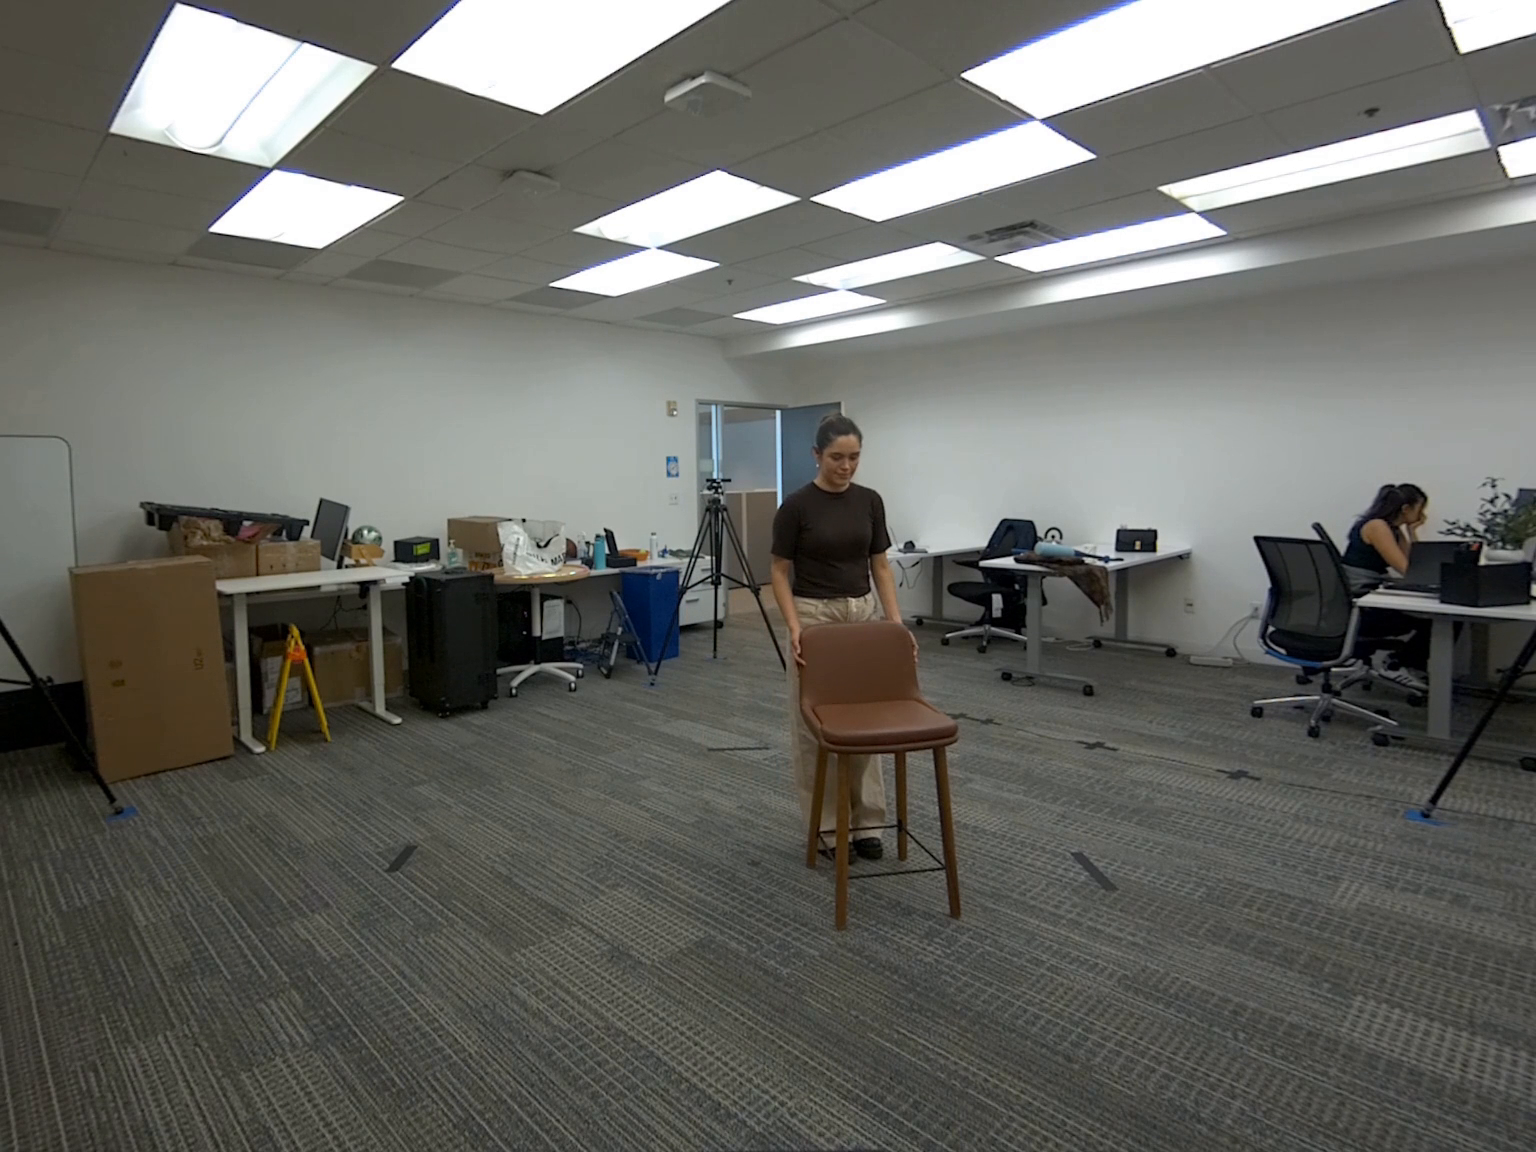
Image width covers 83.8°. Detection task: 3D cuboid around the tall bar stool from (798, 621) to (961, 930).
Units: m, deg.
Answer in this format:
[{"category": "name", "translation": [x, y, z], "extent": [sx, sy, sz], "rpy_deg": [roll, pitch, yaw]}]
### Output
[{"category": "tall bar stool", "translation": [0.359, 0.631, 2.865], "extent": [0.452, 0.888, 0.473], "rpy_deg": [-2, 2, -11]}]
